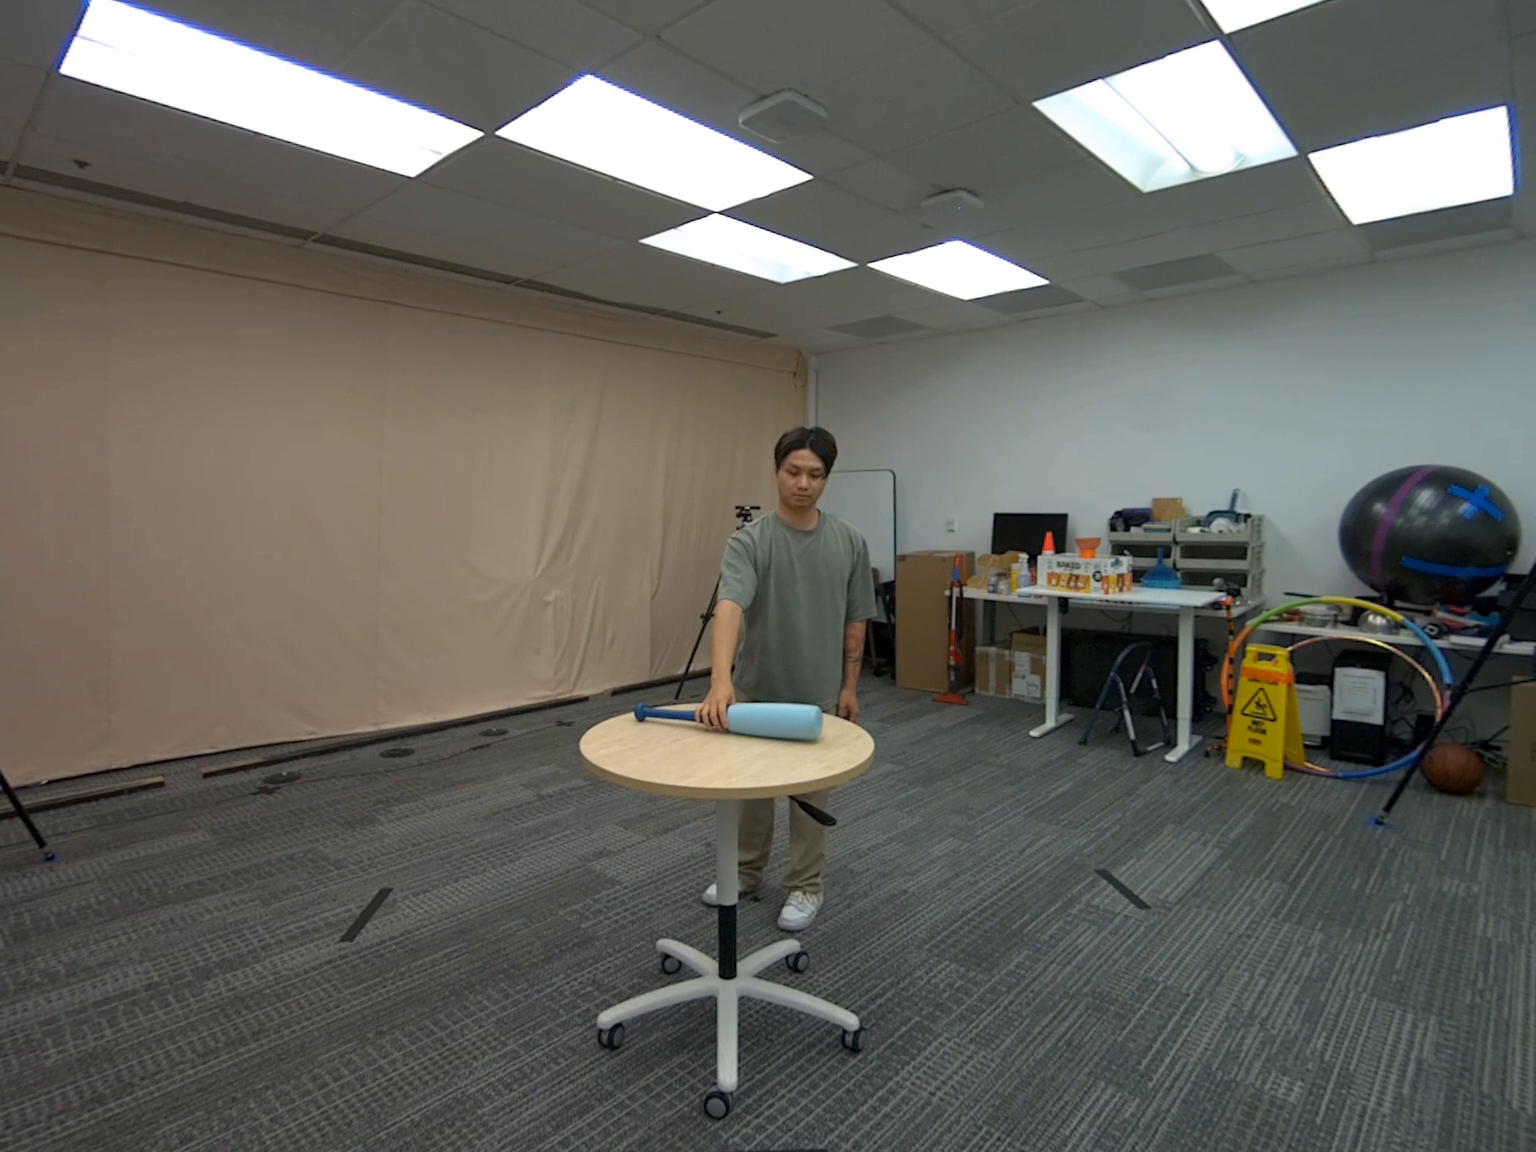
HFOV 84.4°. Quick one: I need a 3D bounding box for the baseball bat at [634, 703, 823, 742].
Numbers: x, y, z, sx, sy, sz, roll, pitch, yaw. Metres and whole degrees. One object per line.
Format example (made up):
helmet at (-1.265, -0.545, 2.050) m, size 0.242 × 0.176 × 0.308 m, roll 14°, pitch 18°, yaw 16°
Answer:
baseball bat at (-0.119, 0.383, 2.276) m, size 0.555 × 0.089 × 0.087 m, roll -1°, pitch 3°, yaw 23°
